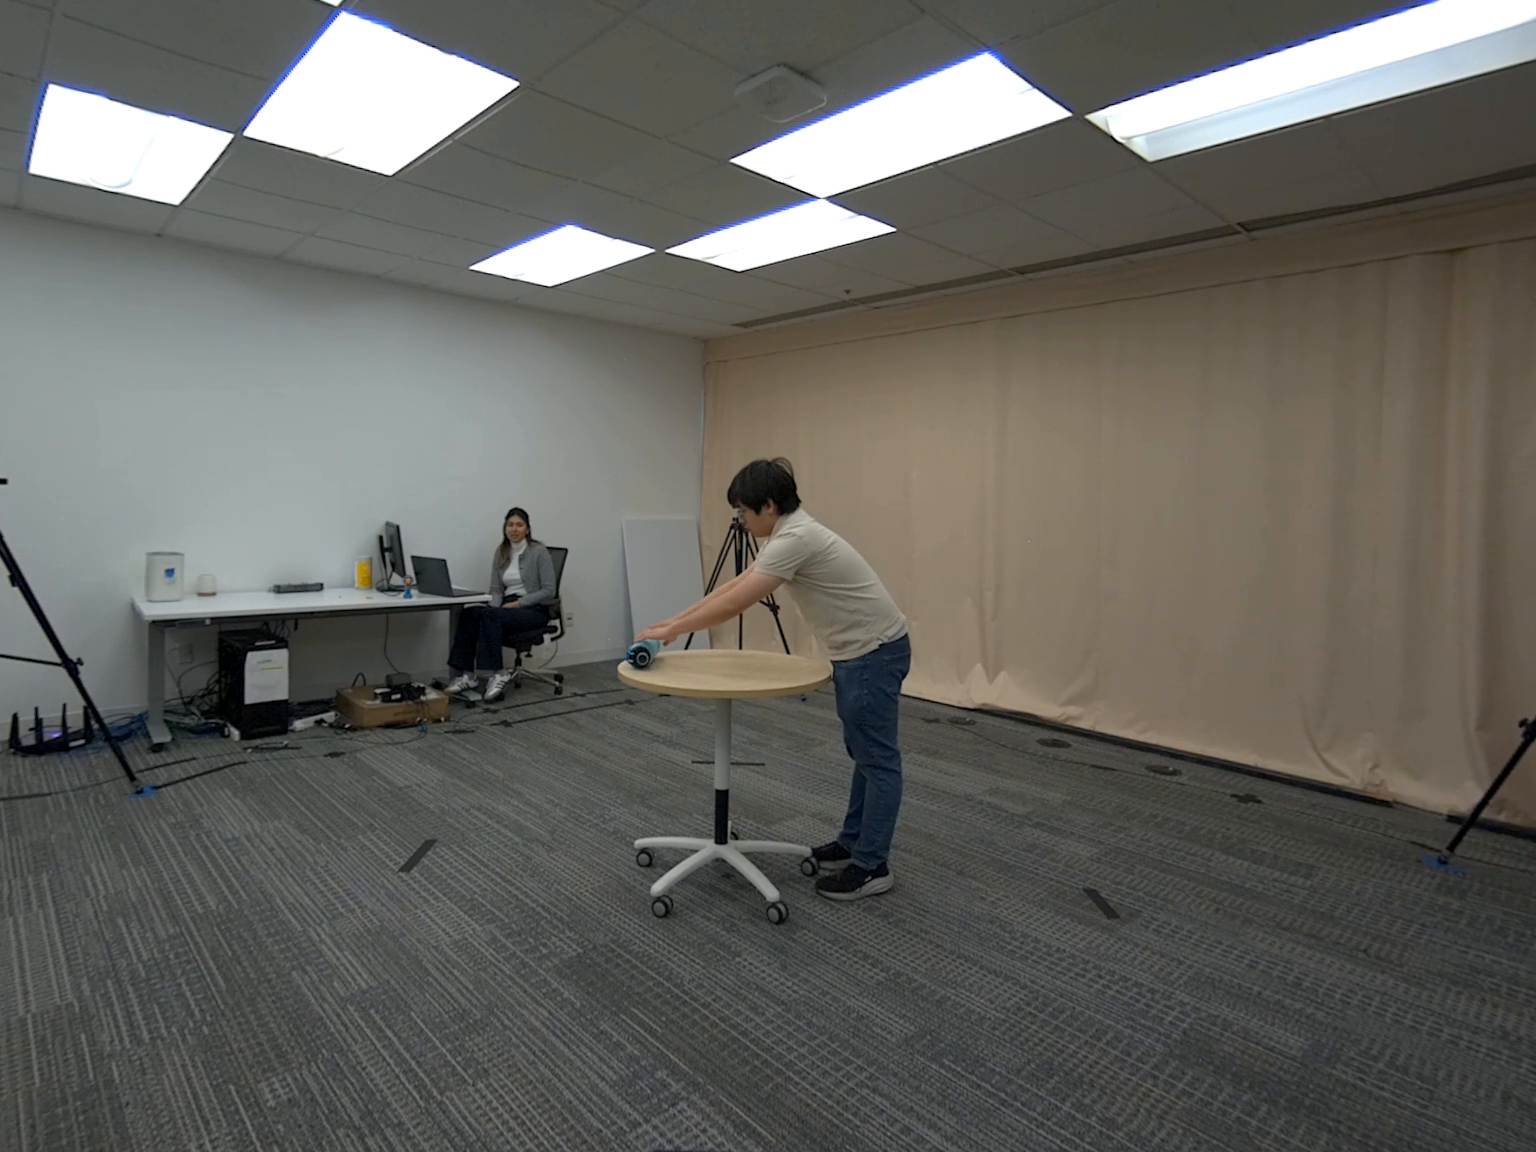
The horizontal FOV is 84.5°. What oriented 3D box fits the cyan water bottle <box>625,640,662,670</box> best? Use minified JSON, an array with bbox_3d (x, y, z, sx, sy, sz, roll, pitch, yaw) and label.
[{"bbox_3d":[-0.450,0.273,3.069,0.092,0.092,0.284,2,7,2],"label":"cyan water bottle"}]
